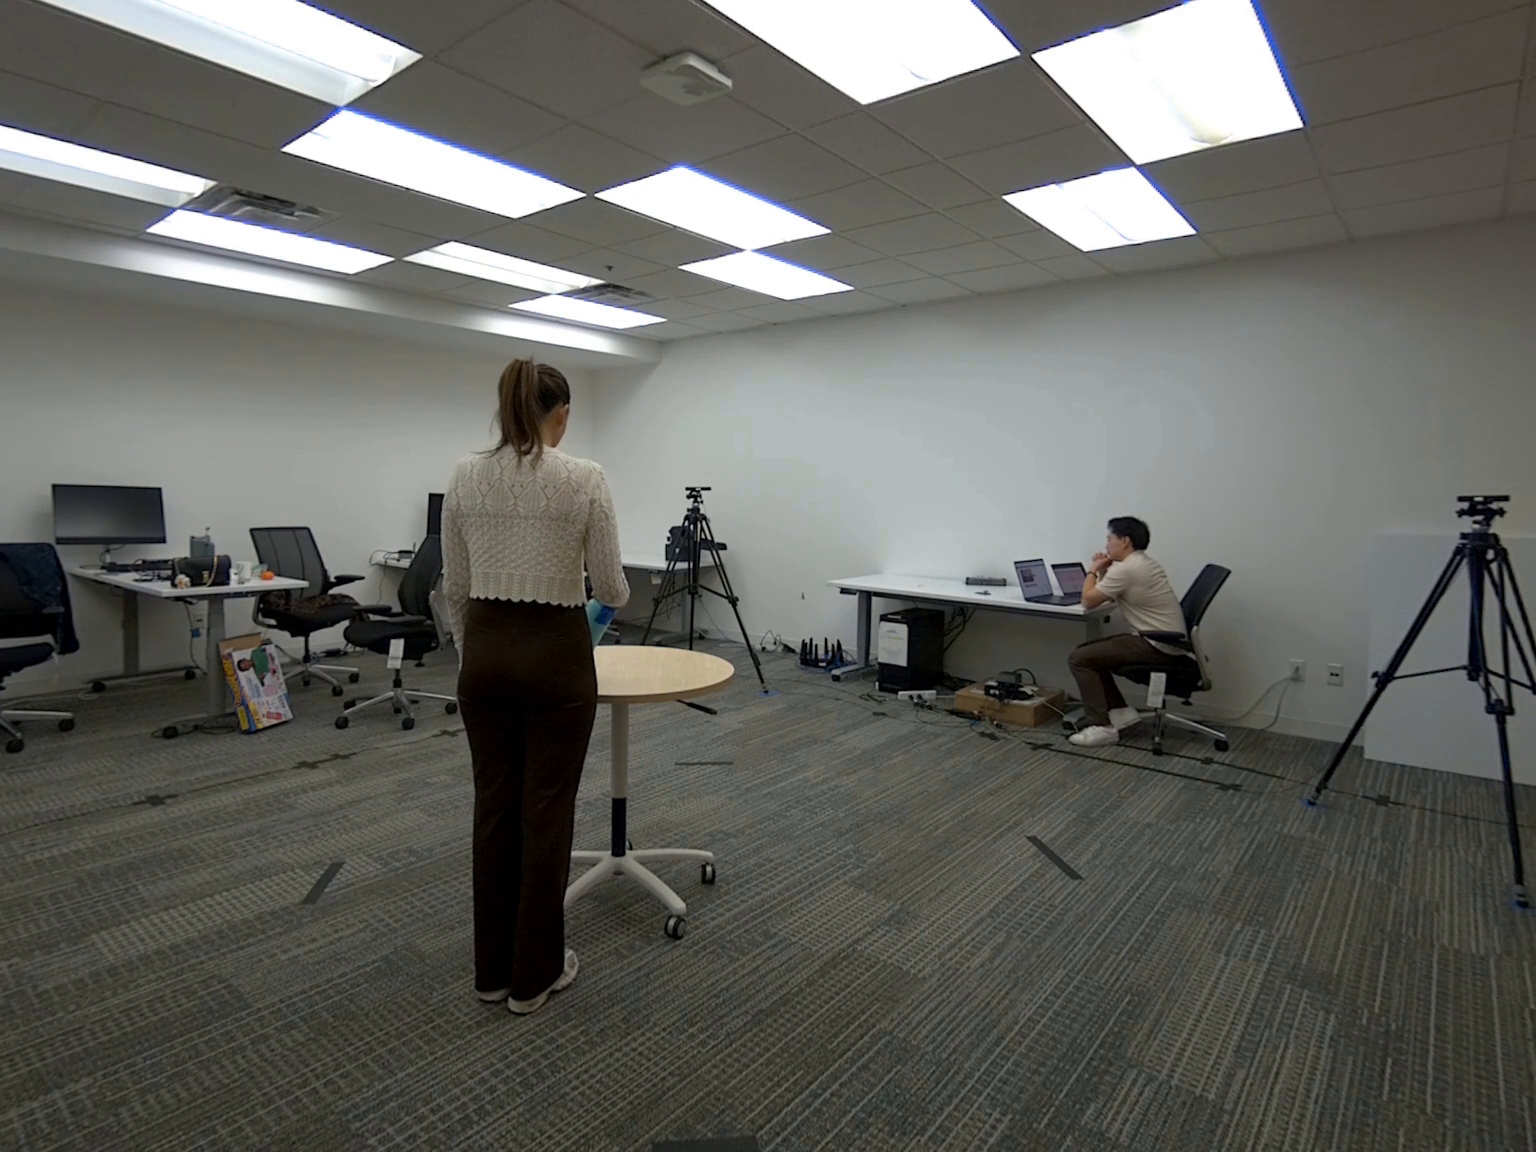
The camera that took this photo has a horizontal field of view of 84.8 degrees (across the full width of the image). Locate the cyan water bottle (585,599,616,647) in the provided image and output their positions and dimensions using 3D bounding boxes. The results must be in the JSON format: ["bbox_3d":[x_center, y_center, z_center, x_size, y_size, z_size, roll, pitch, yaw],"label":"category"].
[{"bbox_3d":[-0.565,0.167,2.622,0.092,0.283,0.093,24,2,-3],"label":"cyan water bottle"}]
